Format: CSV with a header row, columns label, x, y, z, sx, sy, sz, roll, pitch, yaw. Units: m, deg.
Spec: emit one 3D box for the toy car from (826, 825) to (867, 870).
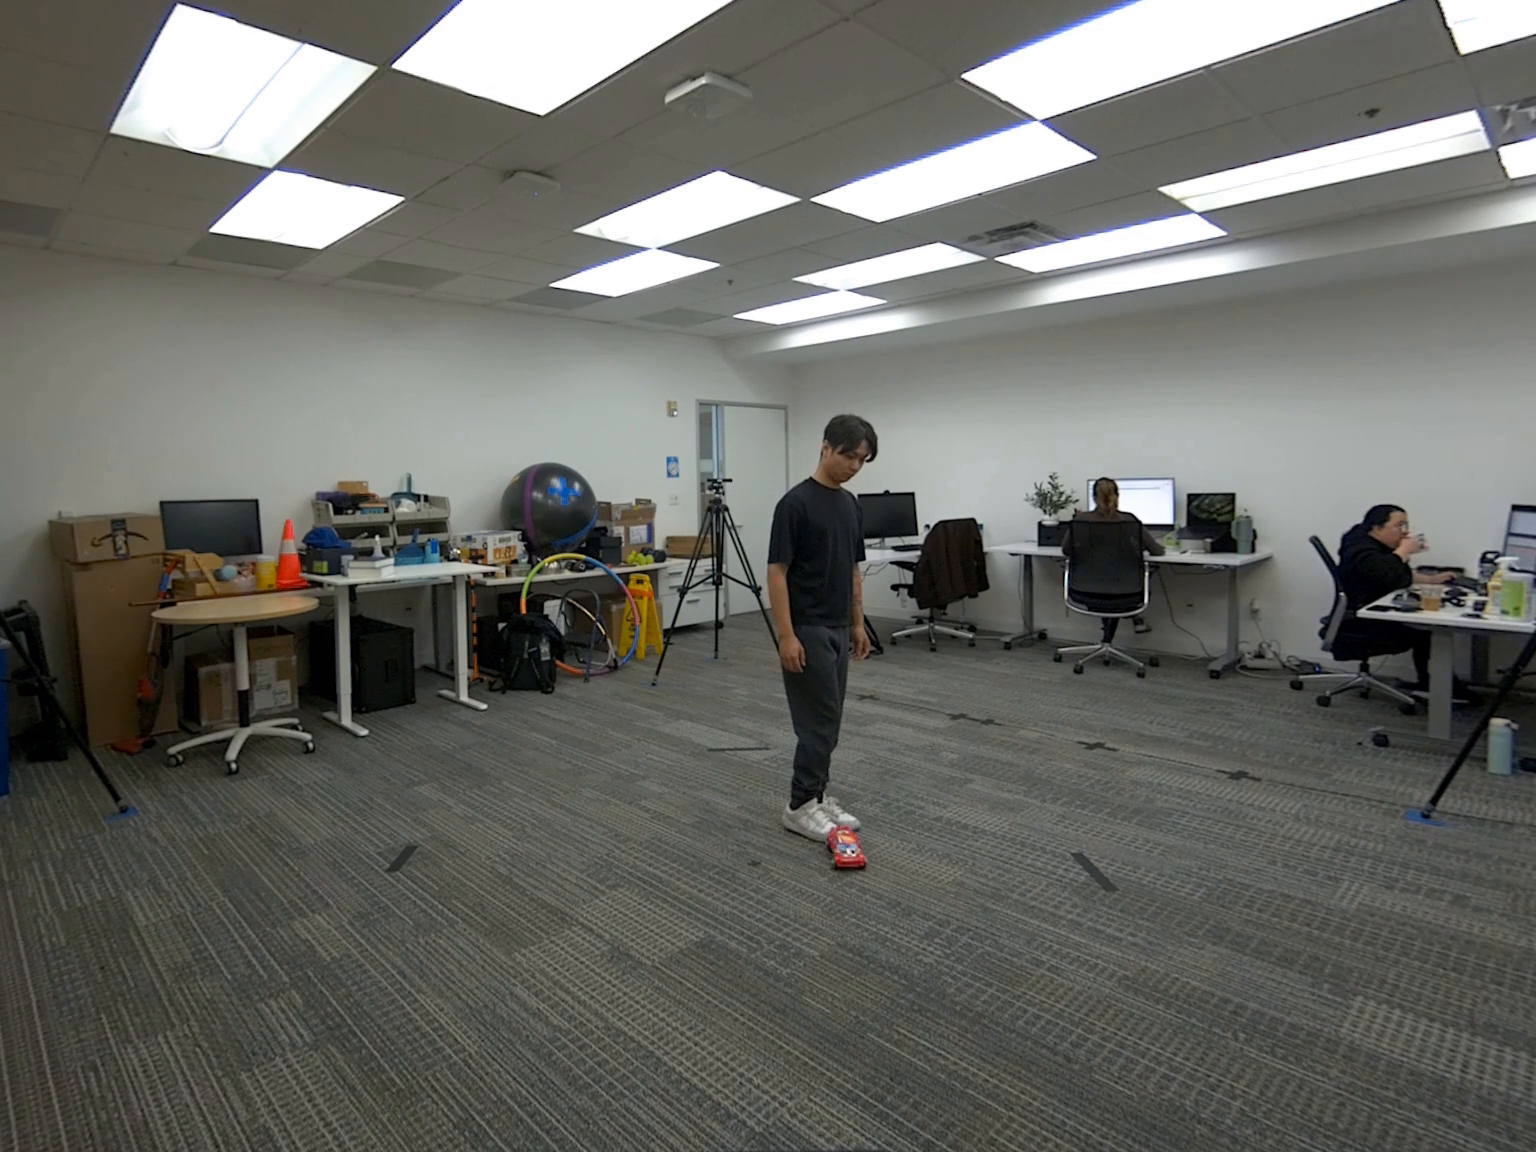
label,x,y,z,sx,sy,sz,roll,pitch,yaw
toy car,0.285,1.004,3.147,0.130,0.082,0.259,-2,19,-2
